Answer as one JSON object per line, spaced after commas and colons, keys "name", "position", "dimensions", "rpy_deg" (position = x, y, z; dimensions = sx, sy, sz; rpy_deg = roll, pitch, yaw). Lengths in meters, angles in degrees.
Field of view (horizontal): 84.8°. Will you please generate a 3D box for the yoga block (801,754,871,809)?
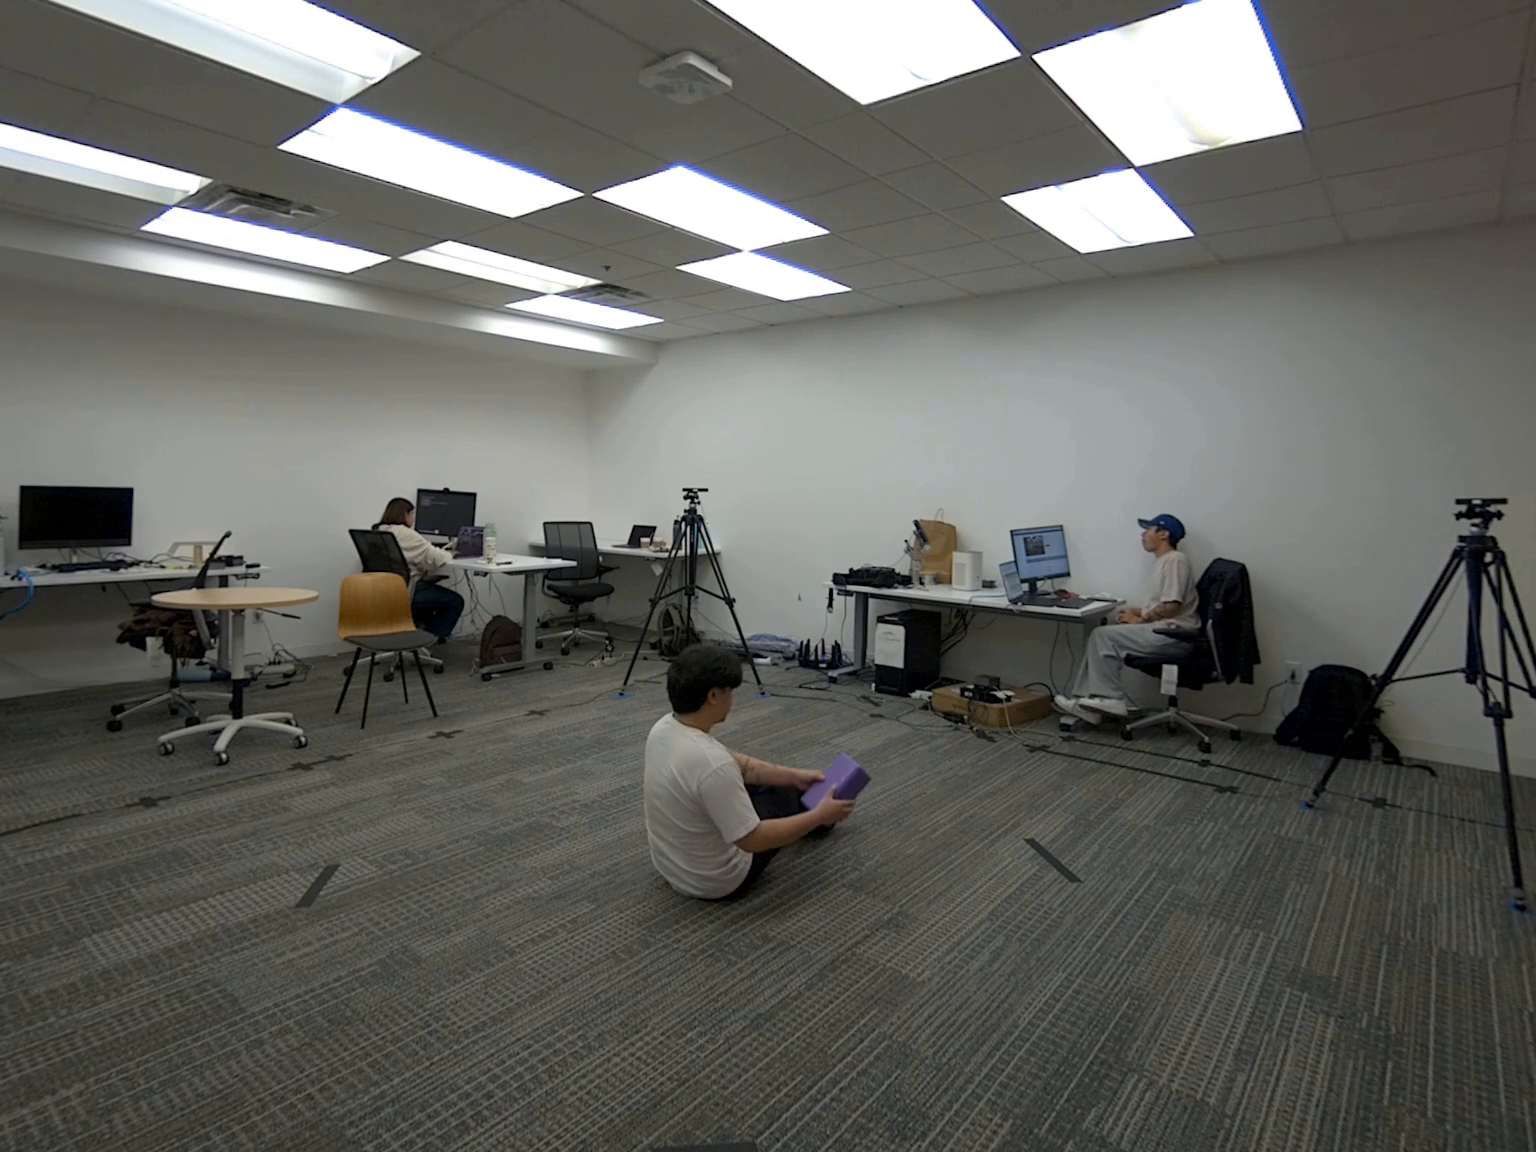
{"name": "yoga block", "position": [0.214, 0.748, 2.947], "dimensions": [0.075, 0.229, 0.152], "rpy_deg": [47, -8, -18]}
